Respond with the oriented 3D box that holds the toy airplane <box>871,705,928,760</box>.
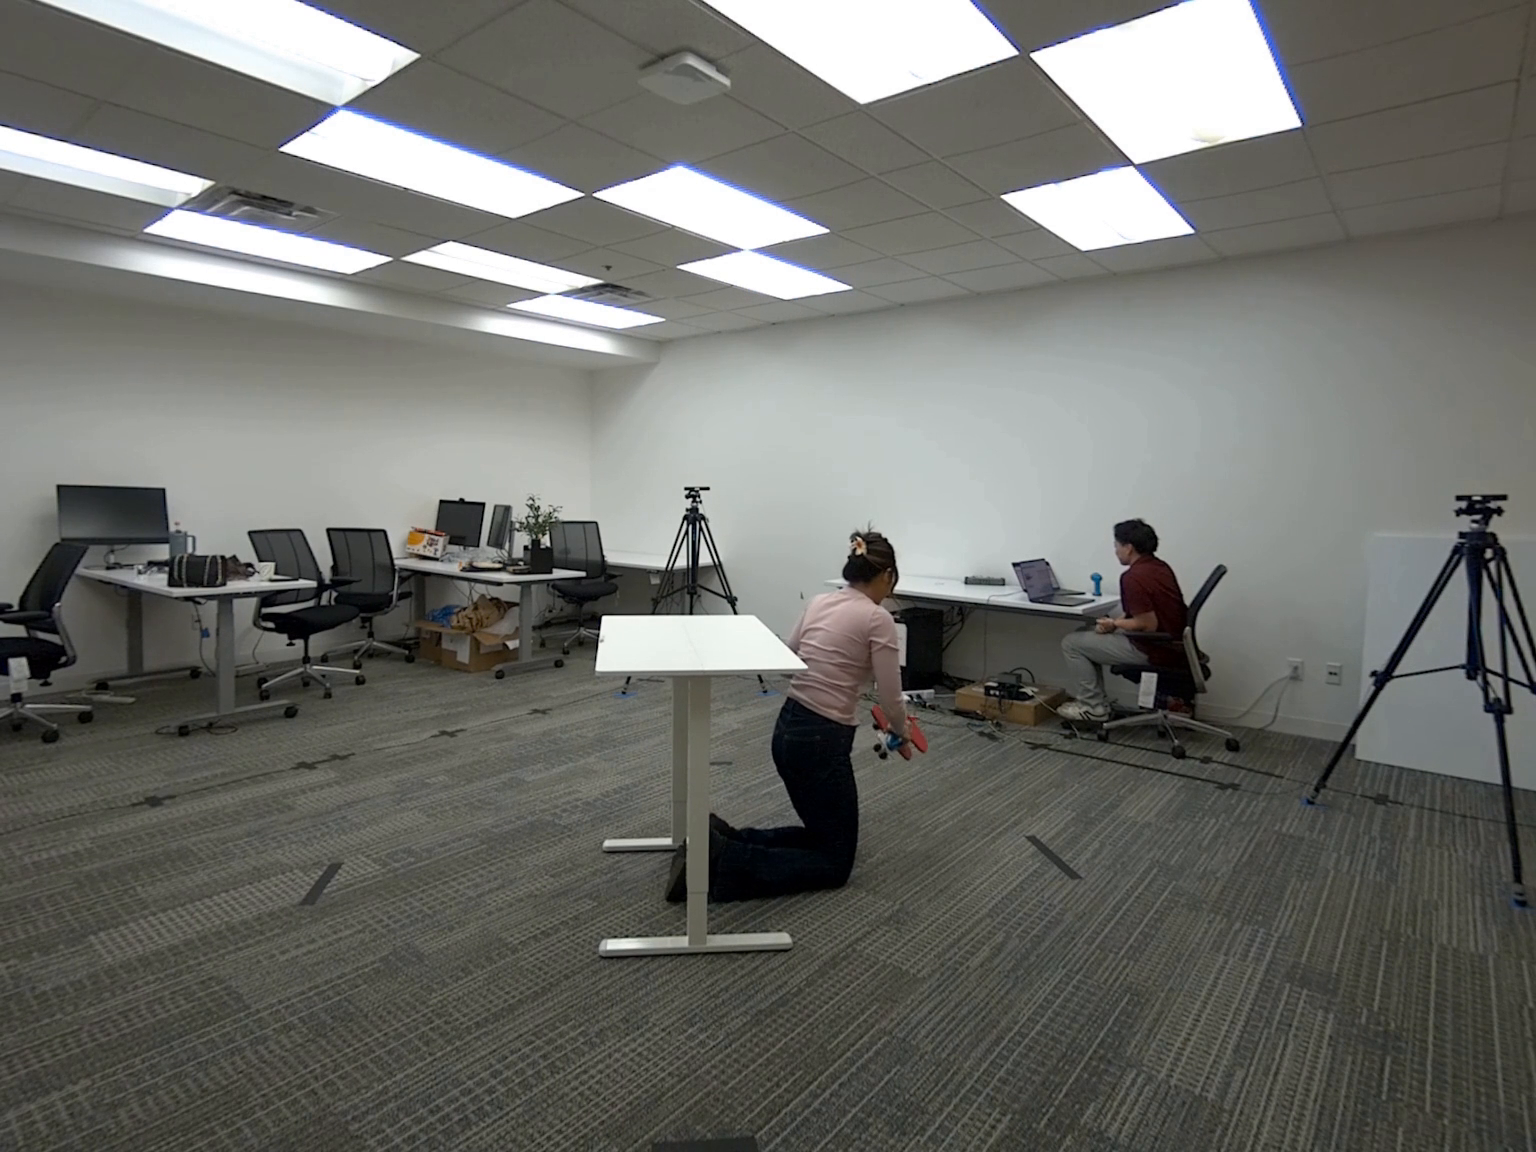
[{"bbox_3d":[0.502,0.641,3.337,0.157,0.243,0.267,-37,28,16],"label":"toy airplane"}]
